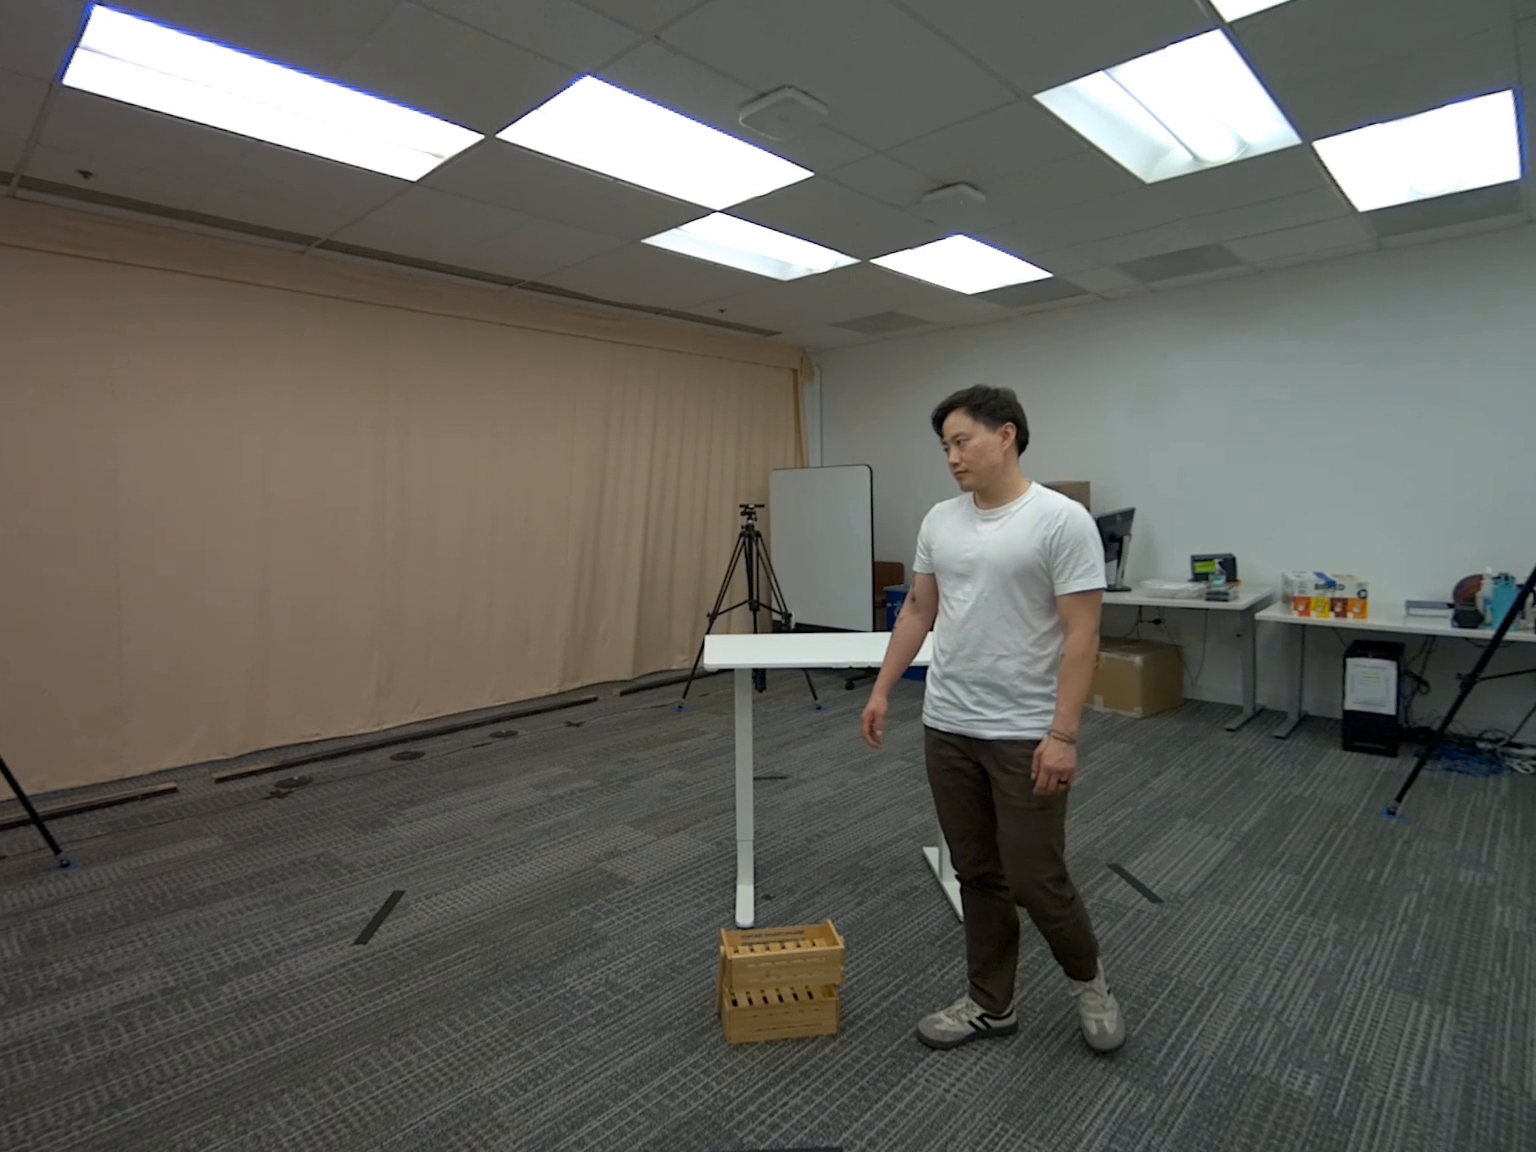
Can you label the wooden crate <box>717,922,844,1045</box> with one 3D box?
[{"bbox_3d":[0.026,1.063,2.284,0.321,0.272,0.306,-2,4,-10],"label":"wooden crate"}]
